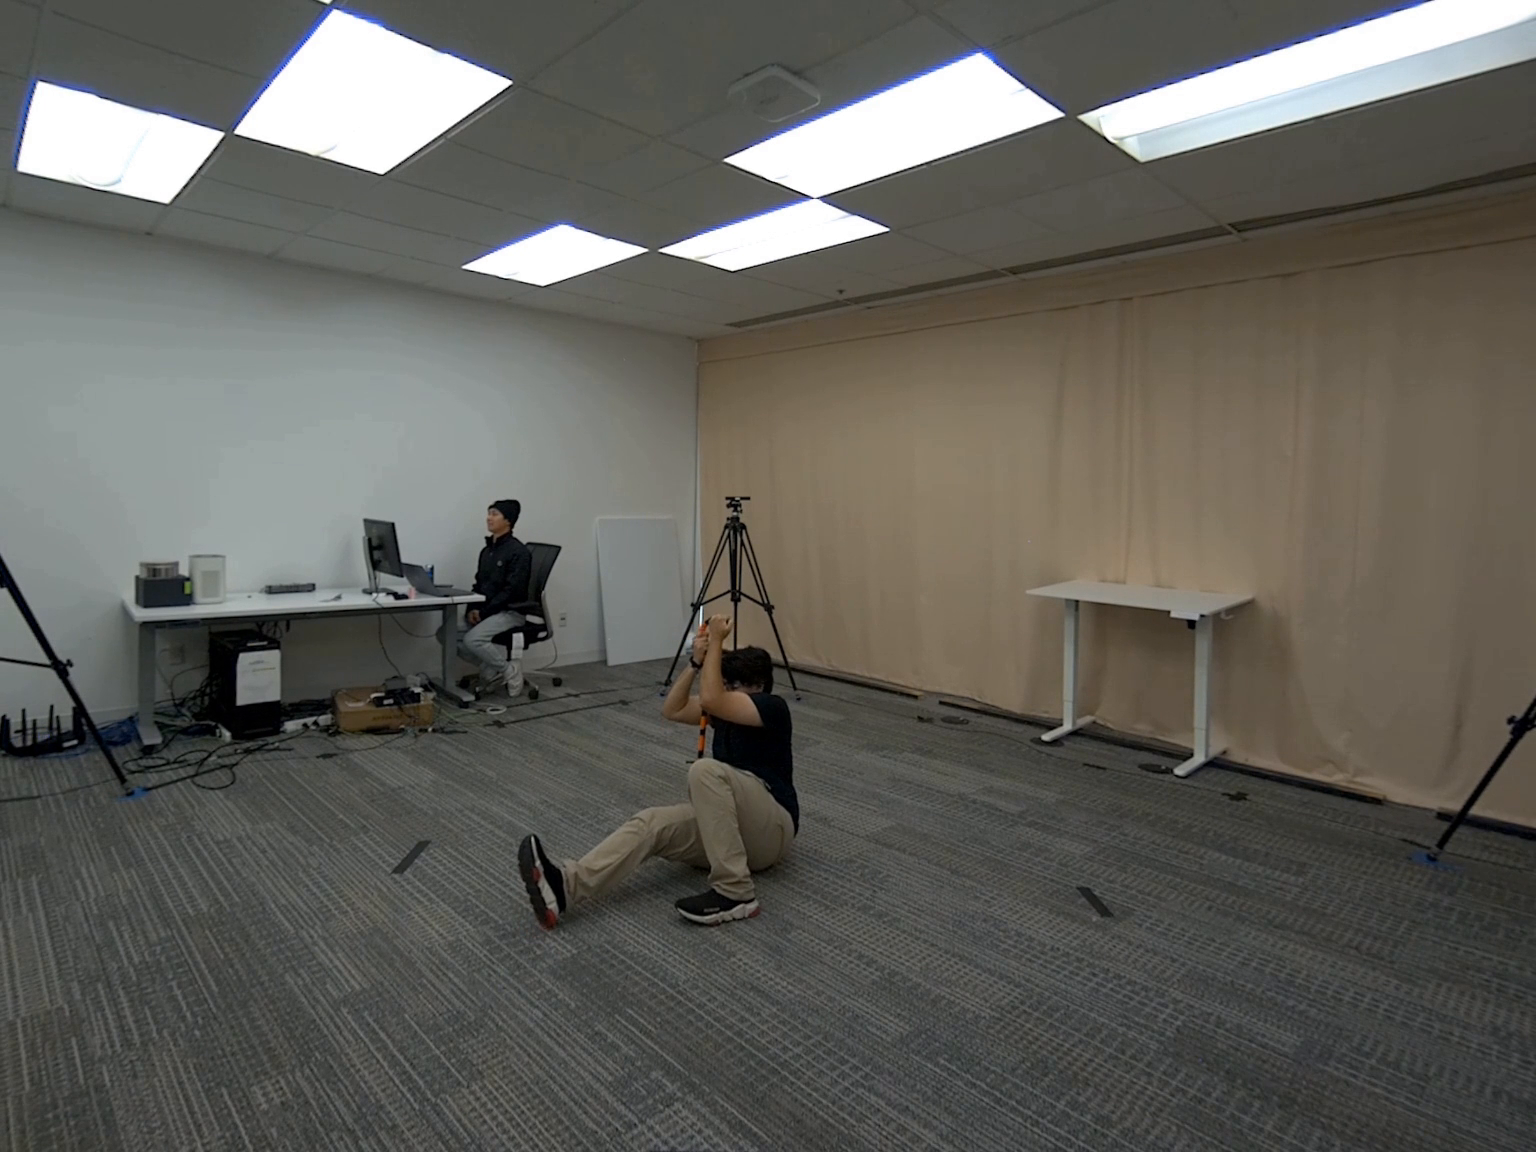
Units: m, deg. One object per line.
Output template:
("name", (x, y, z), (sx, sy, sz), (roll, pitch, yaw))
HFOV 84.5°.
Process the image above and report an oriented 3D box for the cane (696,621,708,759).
("cane", (-0.260, 0.614, 3.397), (0.212, 0.908, 0.148), (4, 0, 42))
